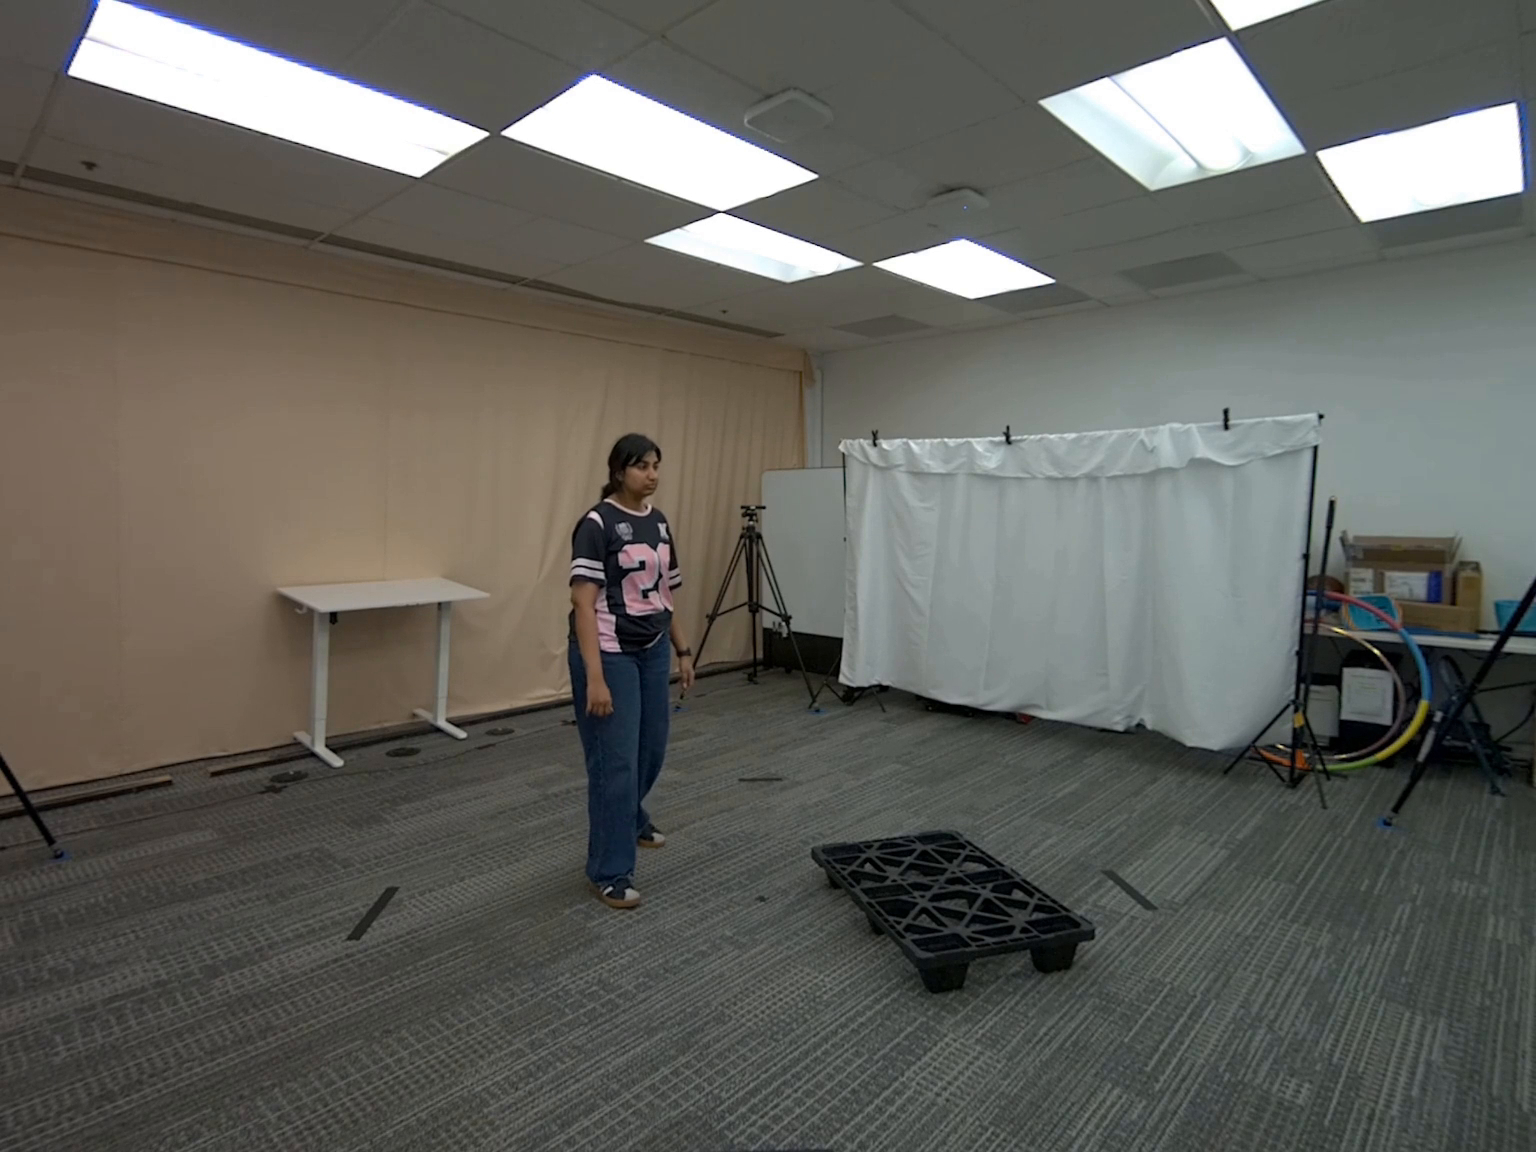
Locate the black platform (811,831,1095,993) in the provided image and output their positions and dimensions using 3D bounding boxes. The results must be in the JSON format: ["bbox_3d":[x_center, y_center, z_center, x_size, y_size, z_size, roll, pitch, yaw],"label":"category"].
[{"bbox_3d":[0.567,1.085,2.805,0.595,0.143,0.821,-2,5,-17],"label":"black platform"}]
